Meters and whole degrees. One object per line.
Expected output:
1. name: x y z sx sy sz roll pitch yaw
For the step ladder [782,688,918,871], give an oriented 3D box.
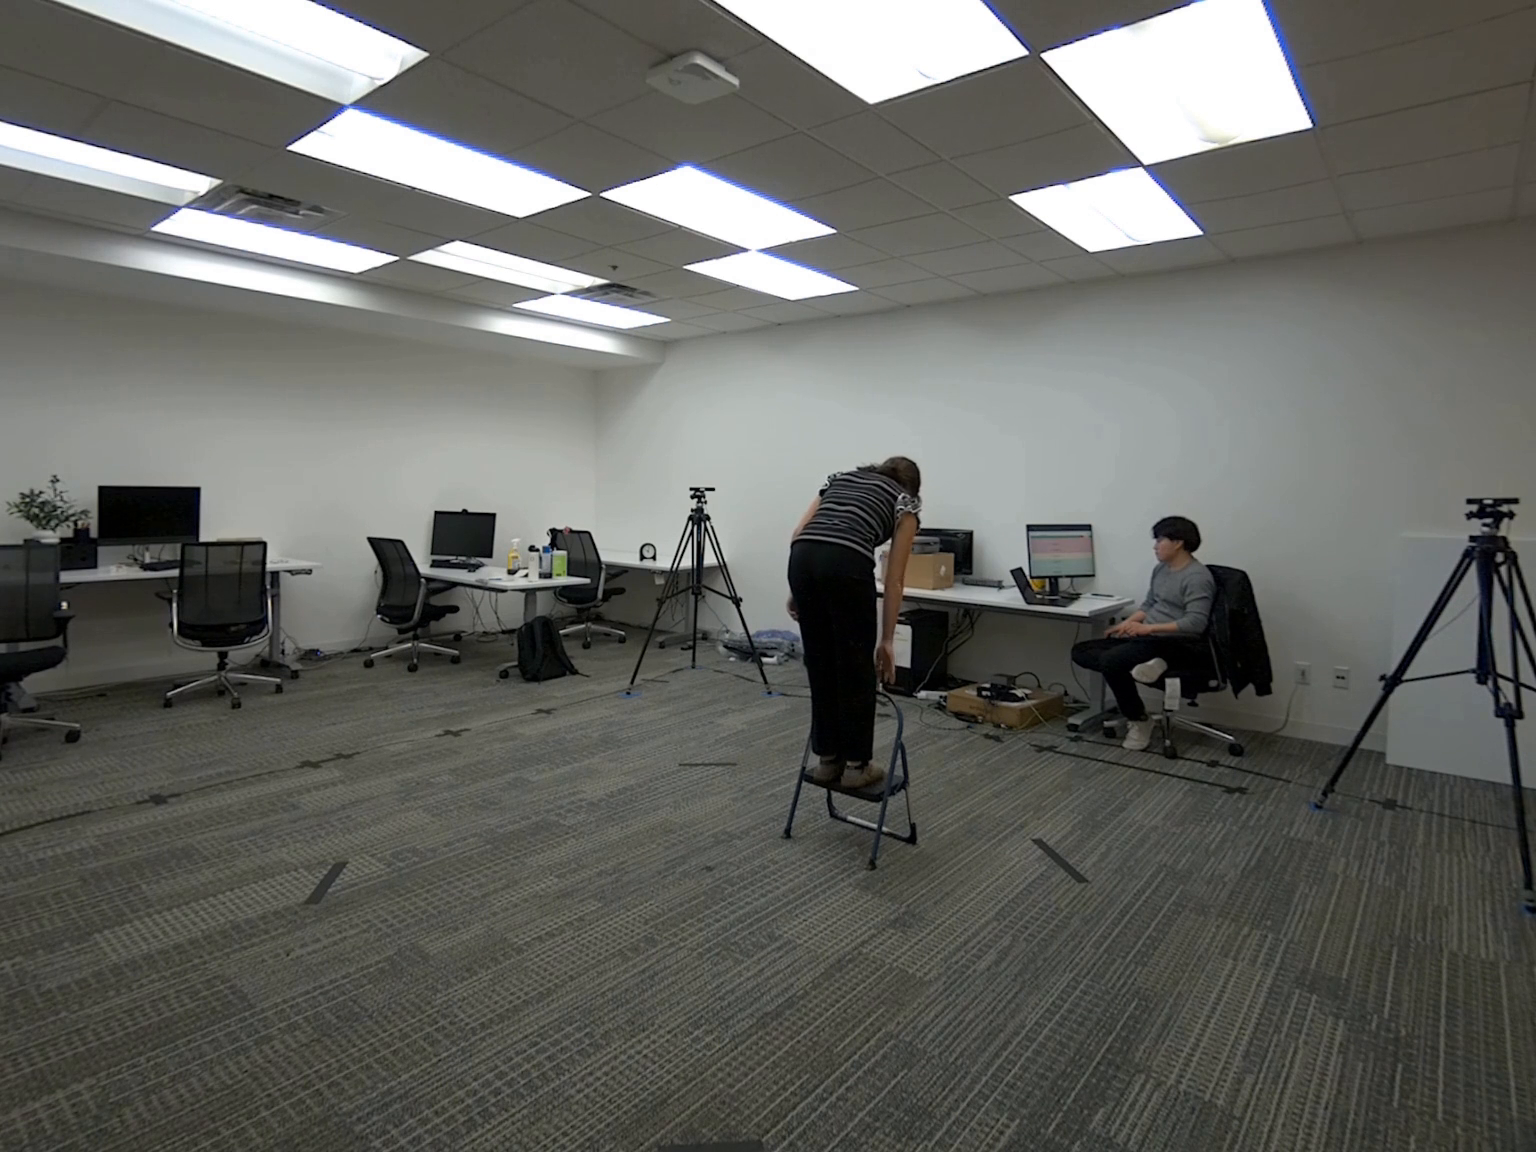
1. step ladder: 0.327 0.750 3.377 0.445 0.604 0.339 5 4 40
